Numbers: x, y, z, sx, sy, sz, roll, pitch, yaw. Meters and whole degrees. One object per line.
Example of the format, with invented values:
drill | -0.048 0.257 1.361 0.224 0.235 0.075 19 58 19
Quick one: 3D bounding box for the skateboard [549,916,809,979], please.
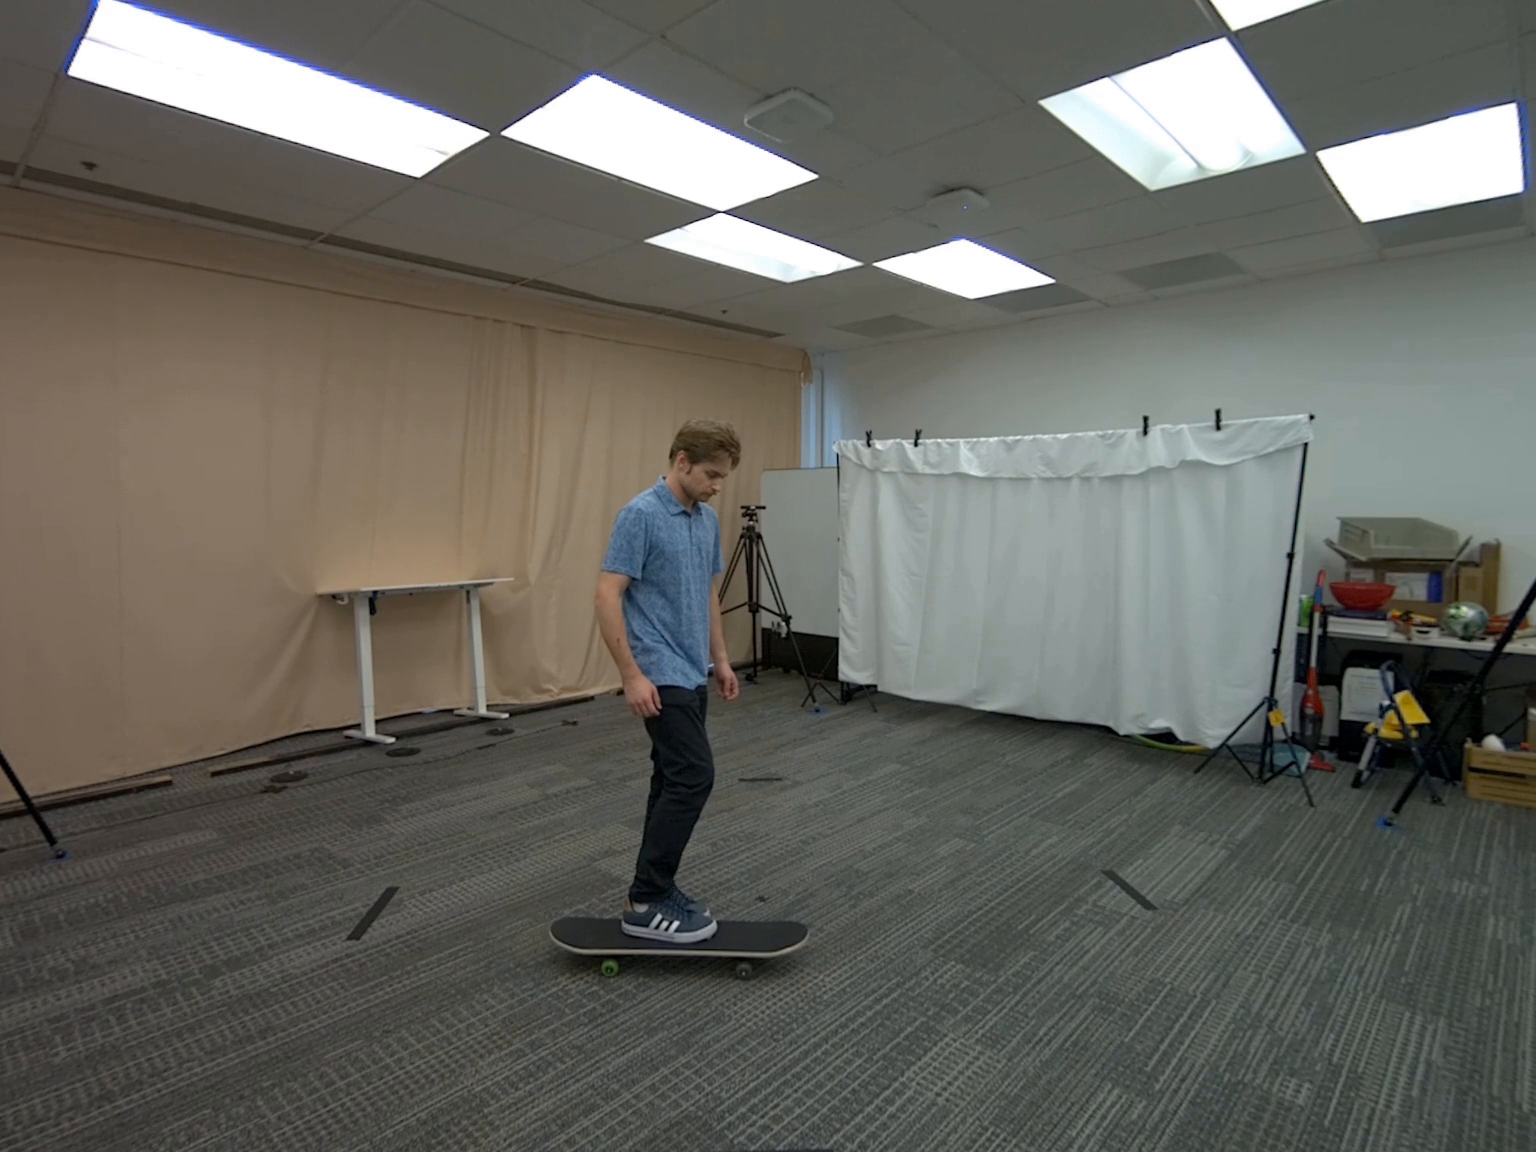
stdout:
skateboard | -0.267 1.123 2.562 0.788 0.110 0.193 0 3 3
